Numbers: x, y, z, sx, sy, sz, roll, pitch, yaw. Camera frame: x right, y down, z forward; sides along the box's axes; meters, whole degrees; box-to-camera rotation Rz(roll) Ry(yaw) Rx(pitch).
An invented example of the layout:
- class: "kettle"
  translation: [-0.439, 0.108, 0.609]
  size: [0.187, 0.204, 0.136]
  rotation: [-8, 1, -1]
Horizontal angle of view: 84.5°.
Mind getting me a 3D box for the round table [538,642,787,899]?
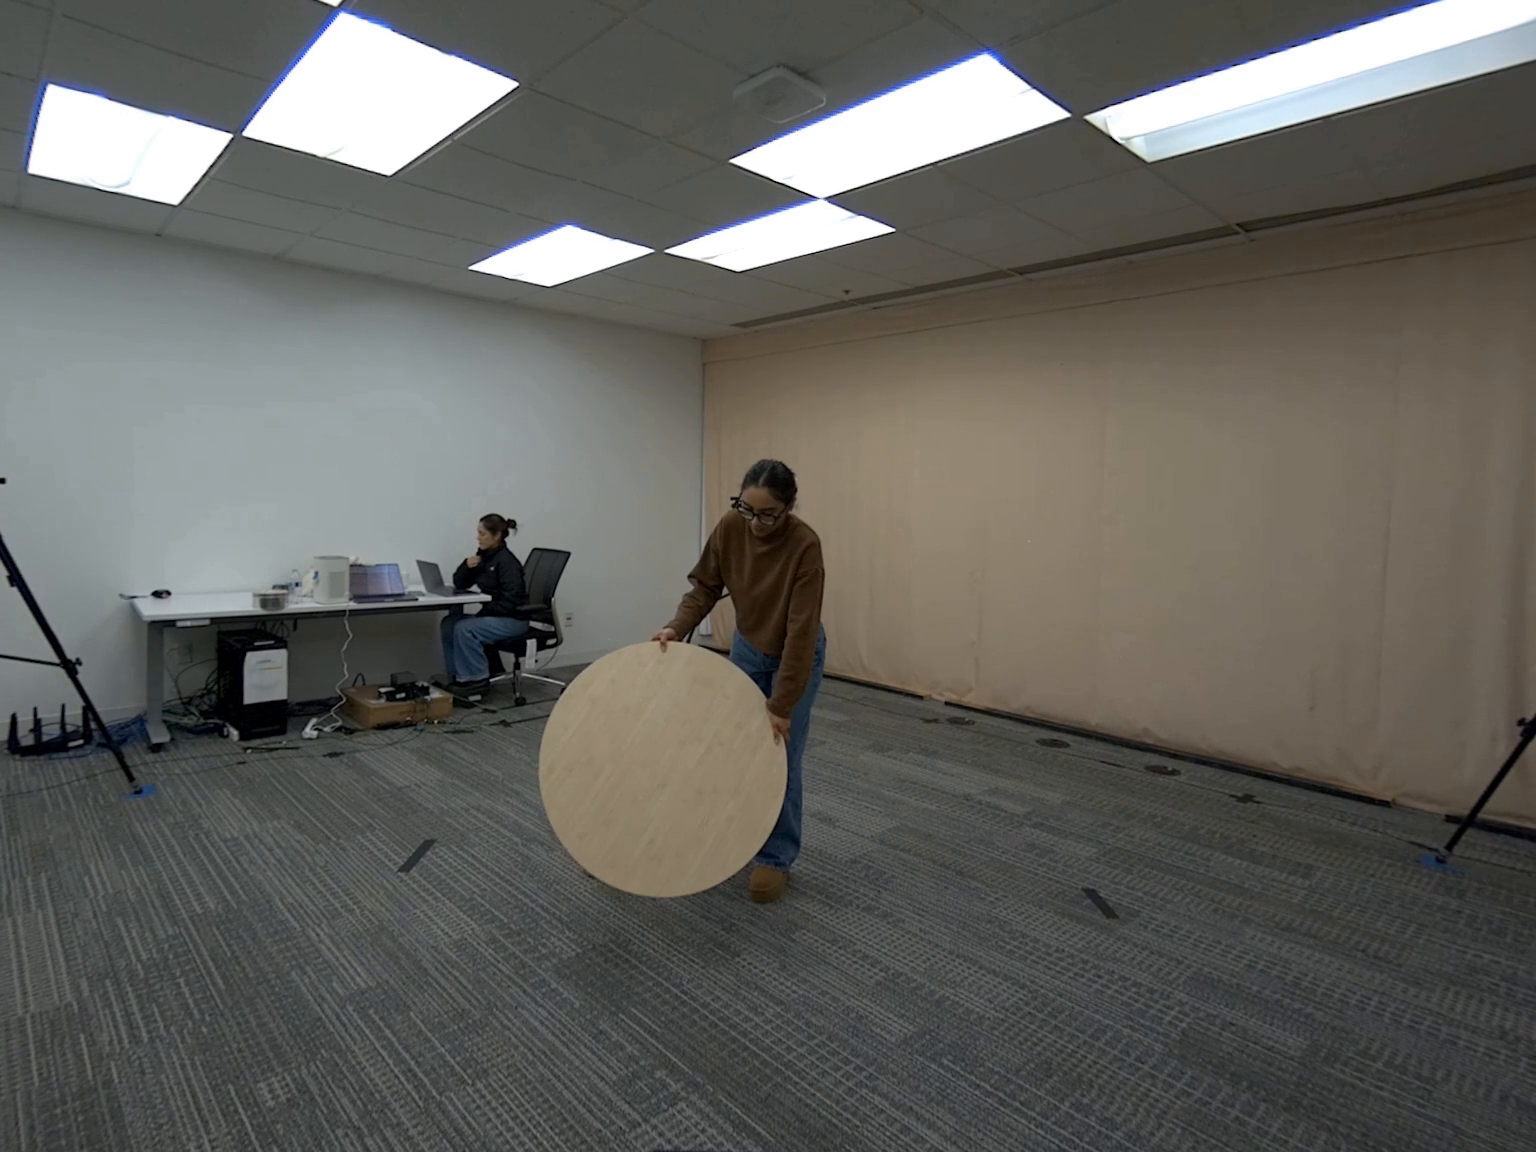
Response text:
- class: "round table"
  translation: [-0.411, 0.700, 2.926]
  size: [0.756, 0.777, 0.789]
  rotation: [0, -22, -14]
